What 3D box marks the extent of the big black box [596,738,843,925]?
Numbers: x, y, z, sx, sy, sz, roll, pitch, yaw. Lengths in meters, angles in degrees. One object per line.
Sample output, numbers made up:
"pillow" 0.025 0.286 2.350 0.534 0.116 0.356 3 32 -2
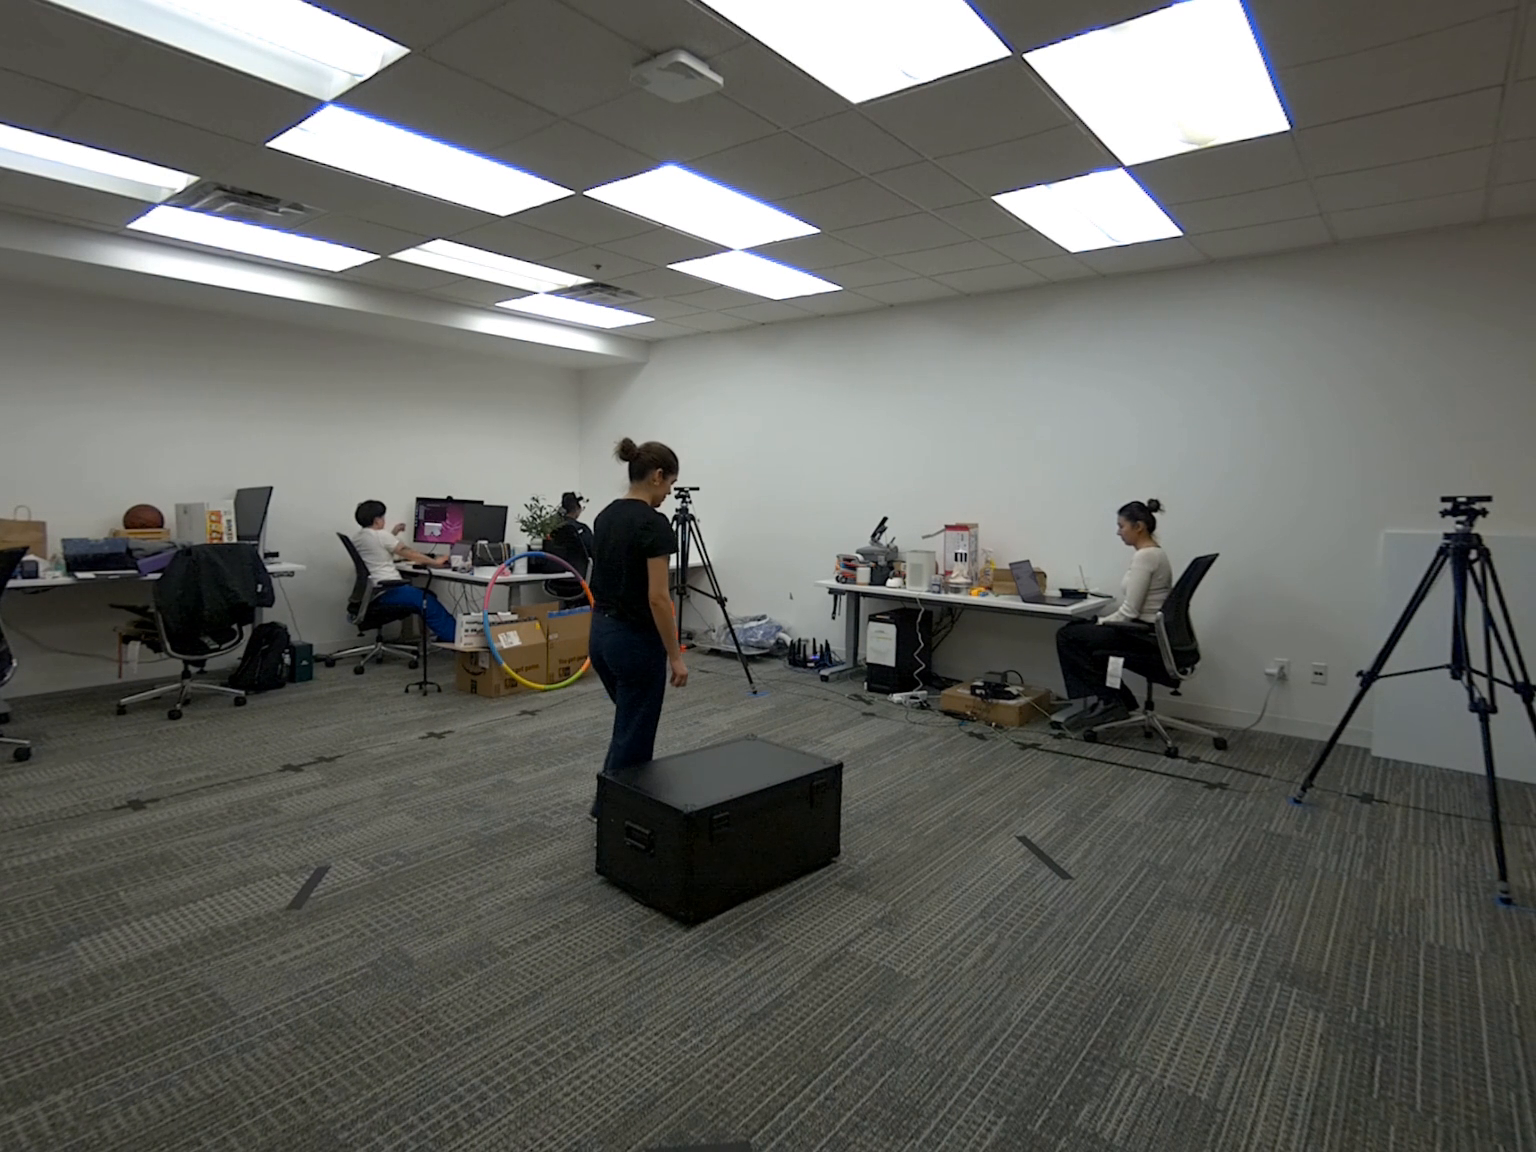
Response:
"big black box" -0.167 0.879 3.079 0.835 0.395 0.539 -3 6 -45
